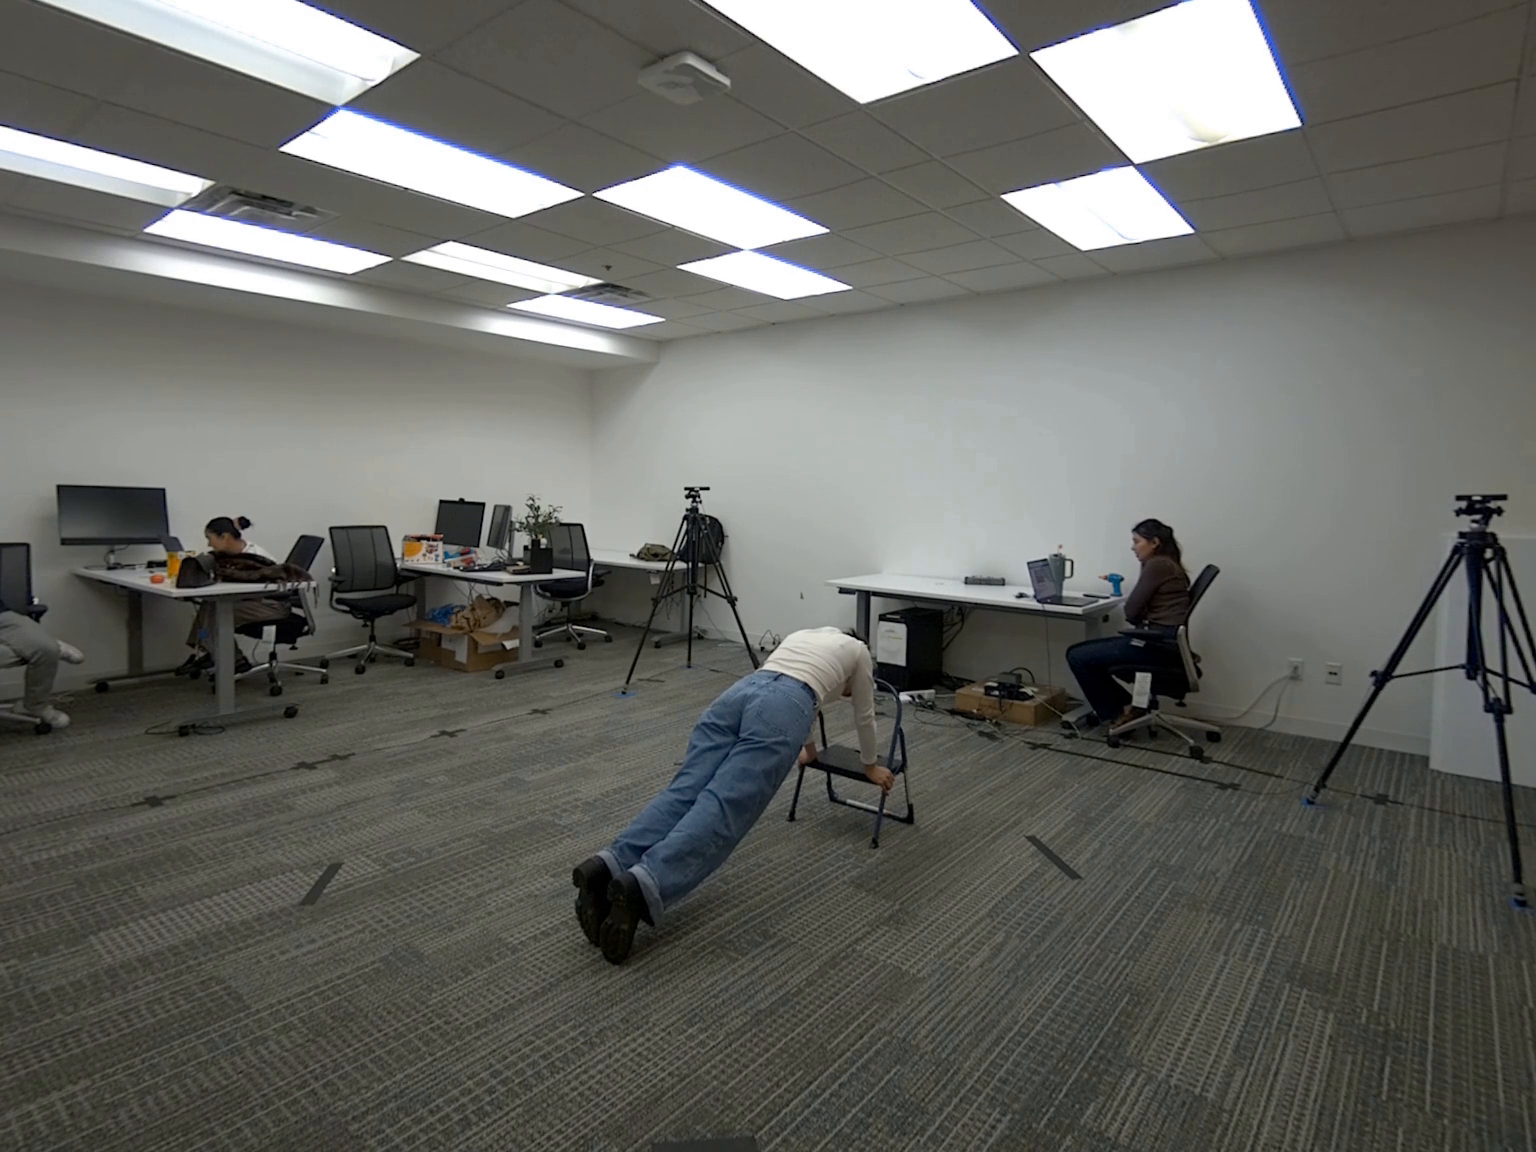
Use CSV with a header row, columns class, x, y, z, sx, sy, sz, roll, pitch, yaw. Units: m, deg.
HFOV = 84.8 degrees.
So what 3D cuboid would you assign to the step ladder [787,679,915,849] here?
class,x,y,z,sx,sy,sz,roll,pitch,yaw
step ladder,0.351,0.730,3.563,0.445,0.604,0.339,4,4,38
